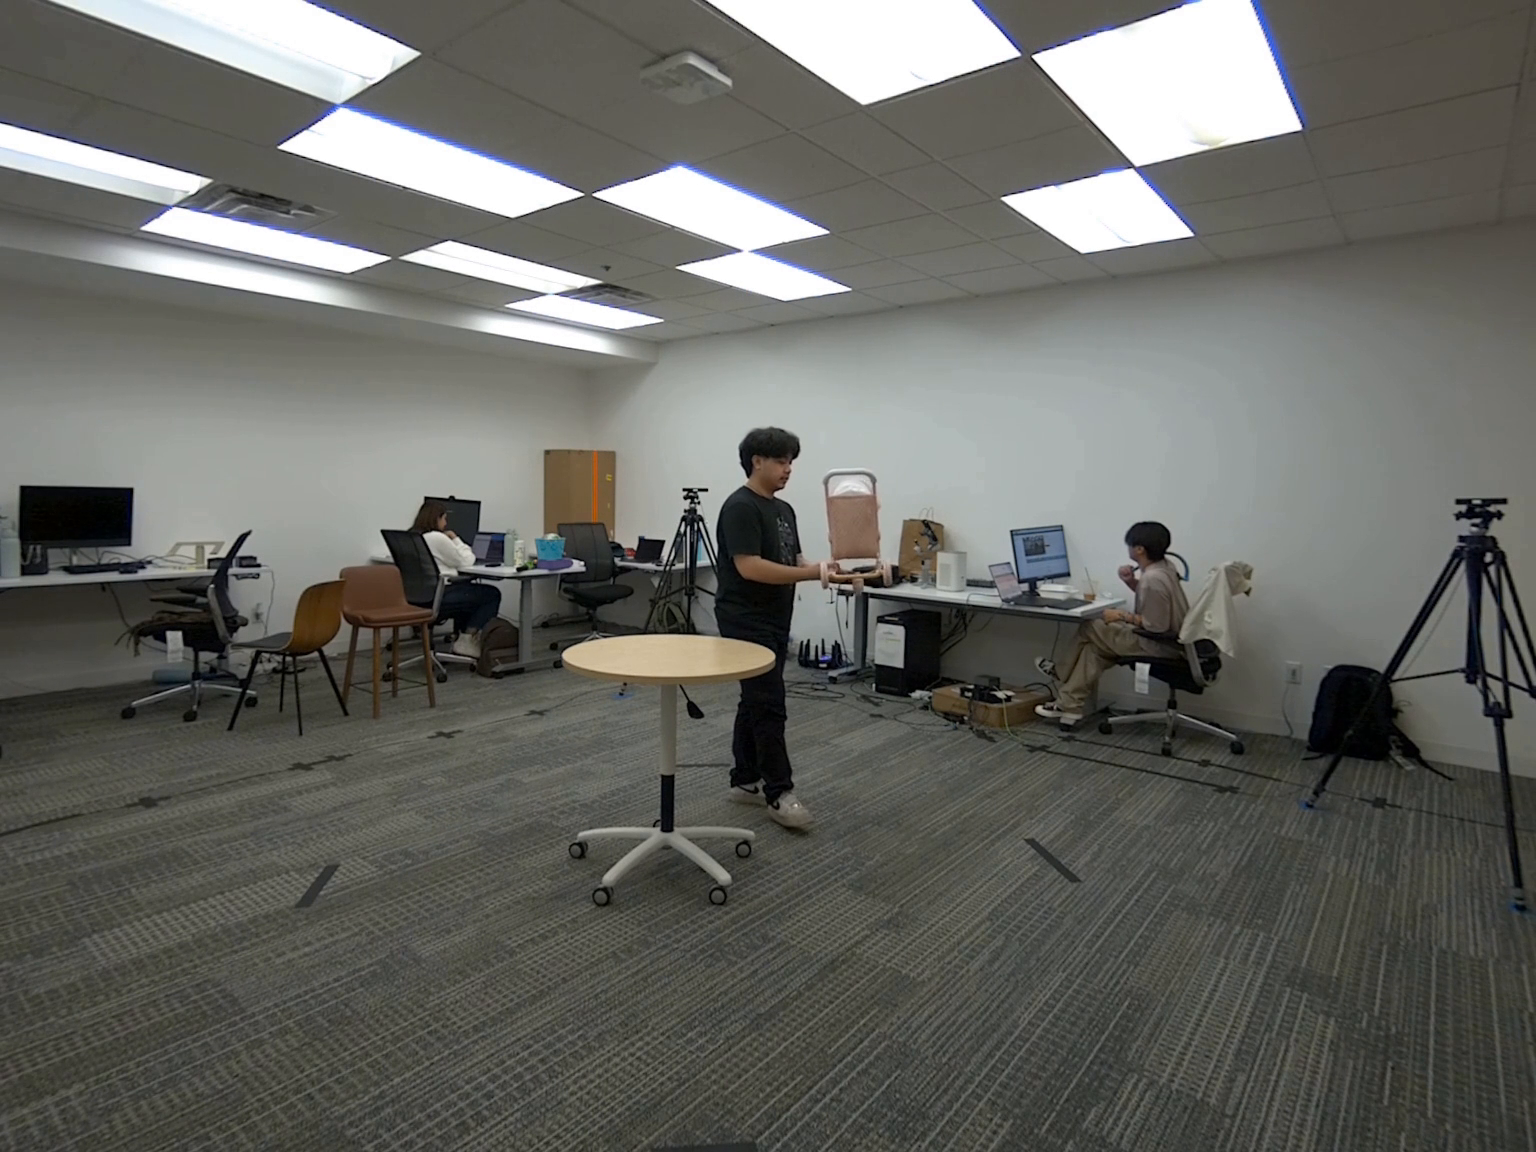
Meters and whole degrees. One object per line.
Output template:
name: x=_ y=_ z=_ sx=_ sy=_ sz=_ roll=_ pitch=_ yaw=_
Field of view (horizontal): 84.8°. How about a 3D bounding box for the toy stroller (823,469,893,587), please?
toy stroller: x=0.341 y=-0.169 z=3.485 sx=0.285 sy=0.533 sz=0.338 roll=-4 pitch=3 yaw=13
